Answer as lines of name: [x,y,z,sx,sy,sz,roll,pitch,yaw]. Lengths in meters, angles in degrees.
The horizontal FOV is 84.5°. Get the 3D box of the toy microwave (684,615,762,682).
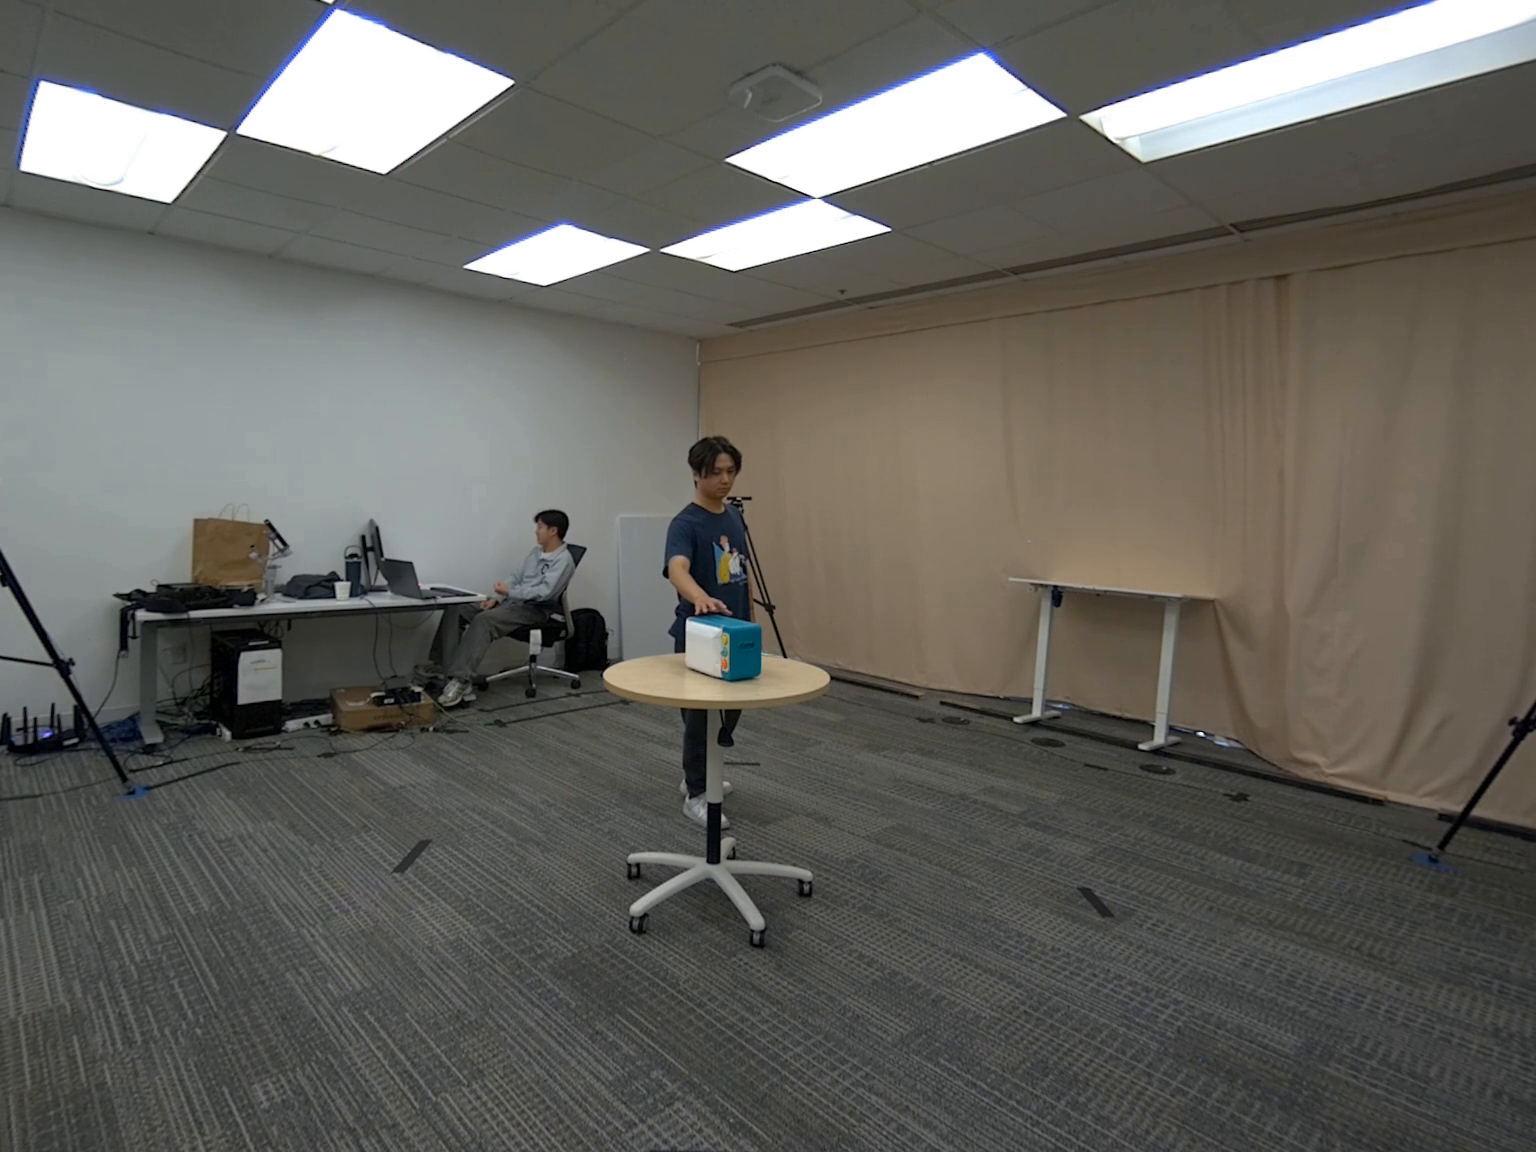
toy microwave: [-0.167,0.241,2.844,0.149,0.183,0.293,-2,5,-35]
